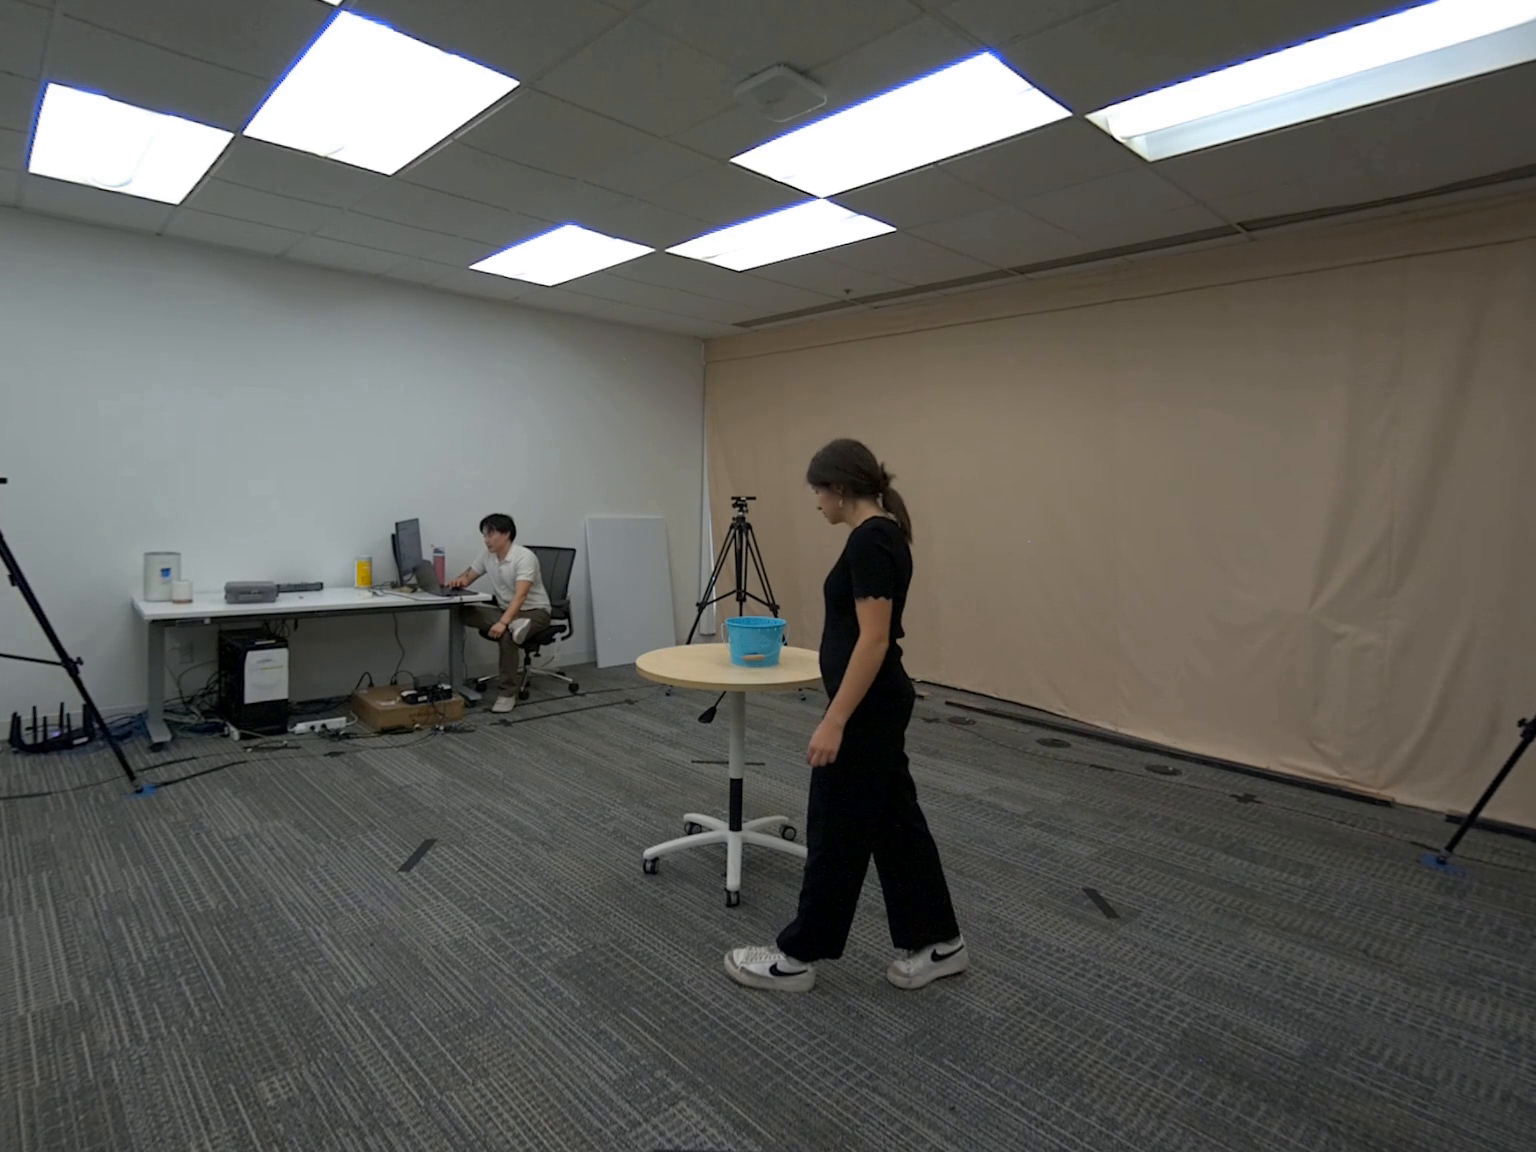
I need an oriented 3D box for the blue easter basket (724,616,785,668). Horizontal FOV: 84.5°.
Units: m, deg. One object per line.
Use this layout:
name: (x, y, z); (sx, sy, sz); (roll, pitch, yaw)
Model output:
blue easter basket: (-0.061, 0.248, 3.135); (0.243, 0.155, 0.244); (1, 5, -1)
